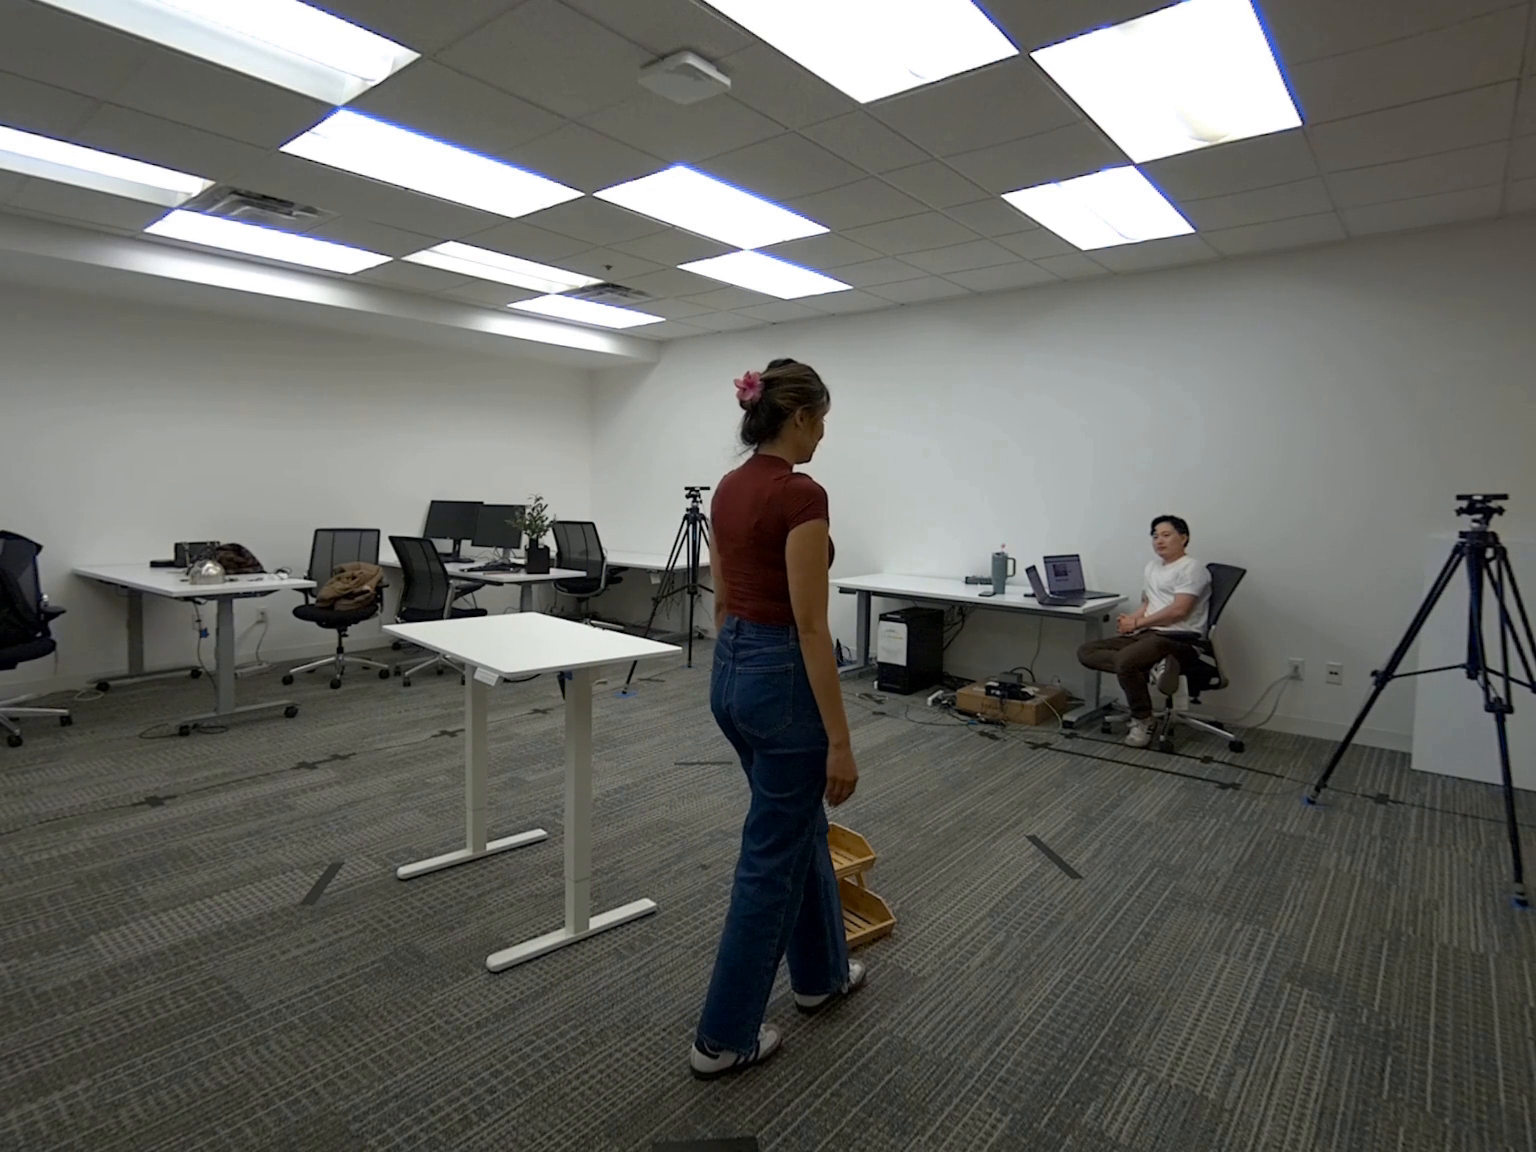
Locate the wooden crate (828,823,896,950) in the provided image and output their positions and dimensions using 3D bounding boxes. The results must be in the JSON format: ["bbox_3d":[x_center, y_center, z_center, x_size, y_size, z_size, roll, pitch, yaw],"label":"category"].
[{"bbox_3d":[0.192,0.978,2.689,0.315,0.272,0.312,-2,5,-37],"label":"wooden crate"}]
